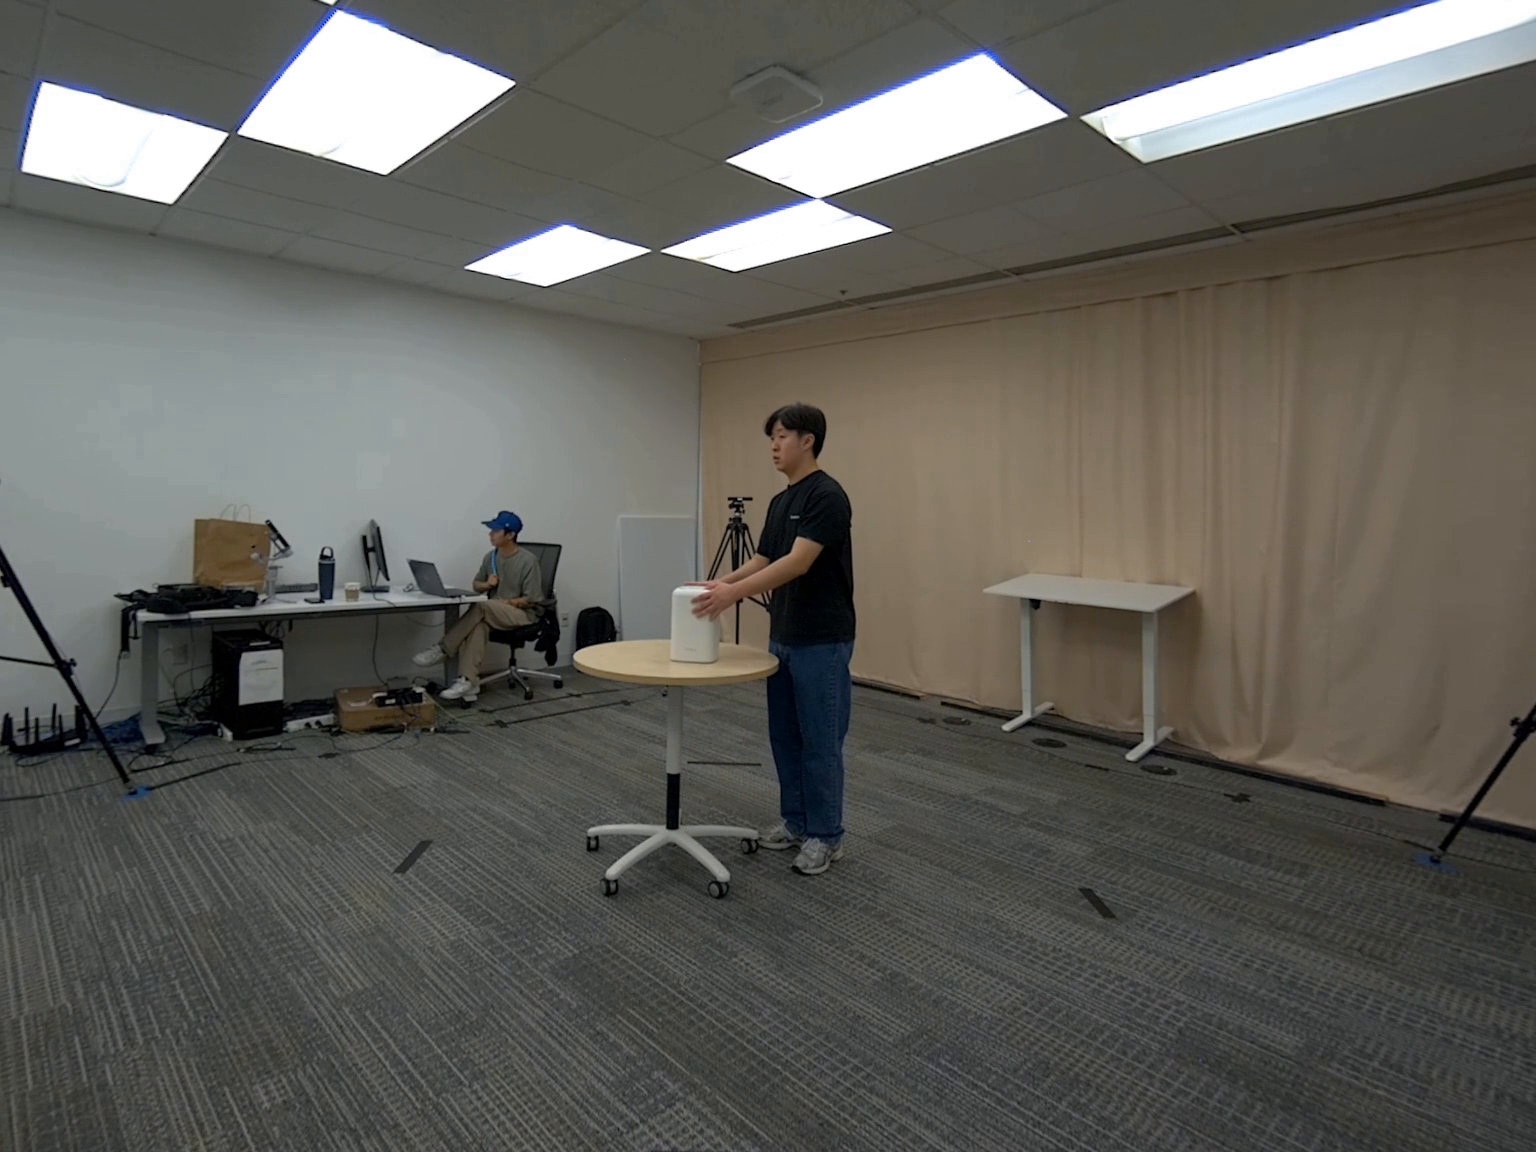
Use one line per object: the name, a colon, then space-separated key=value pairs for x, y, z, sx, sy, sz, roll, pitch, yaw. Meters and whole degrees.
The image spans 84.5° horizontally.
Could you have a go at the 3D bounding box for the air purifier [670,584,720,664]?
air purifier: x=-0.271 y=0.175 z=3.111 sx=0.172 sy=0.264 sz=0.171 roll=5 pitch=4 yaw=8
